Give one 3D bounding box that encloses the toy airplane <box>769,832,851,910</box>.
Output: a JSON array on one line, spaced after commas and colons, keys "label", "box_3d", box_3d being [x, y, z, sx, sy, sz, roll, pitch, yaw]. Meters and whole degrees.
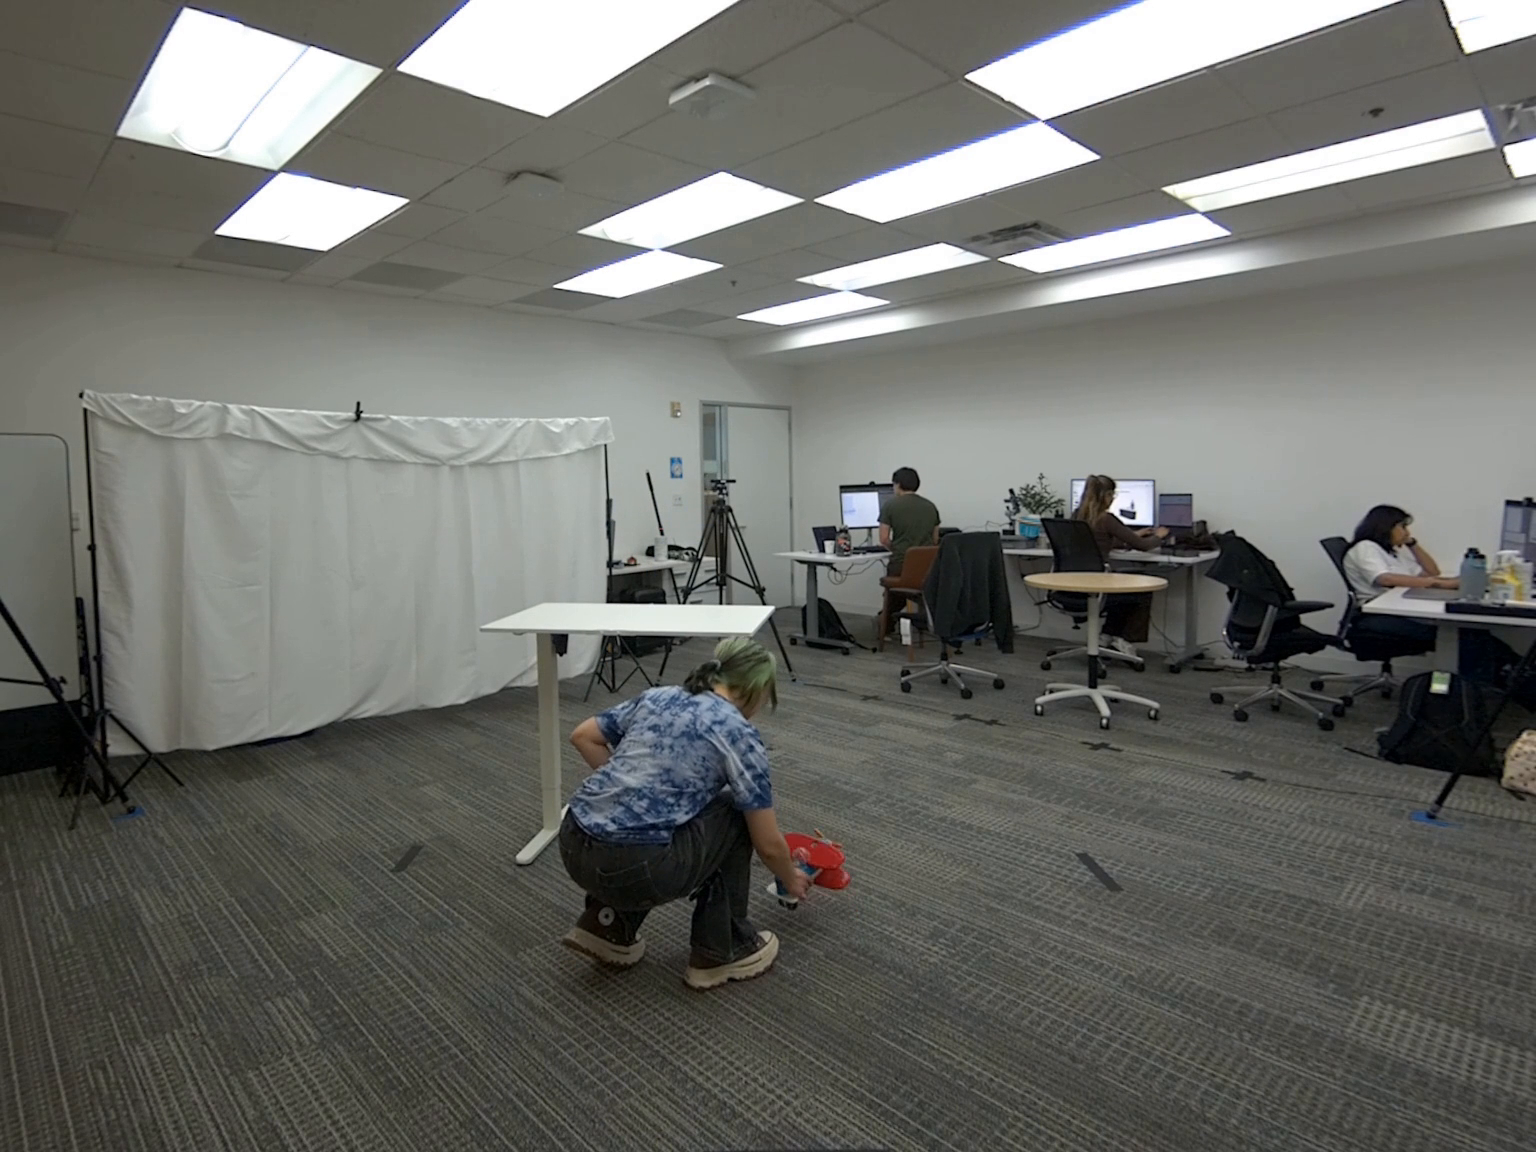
[{"label": "toy airplane", "box_3d": [0.141, 0.931, 2.687, 0.255, 0.155, 0.257, -1, 11, 18]}]
